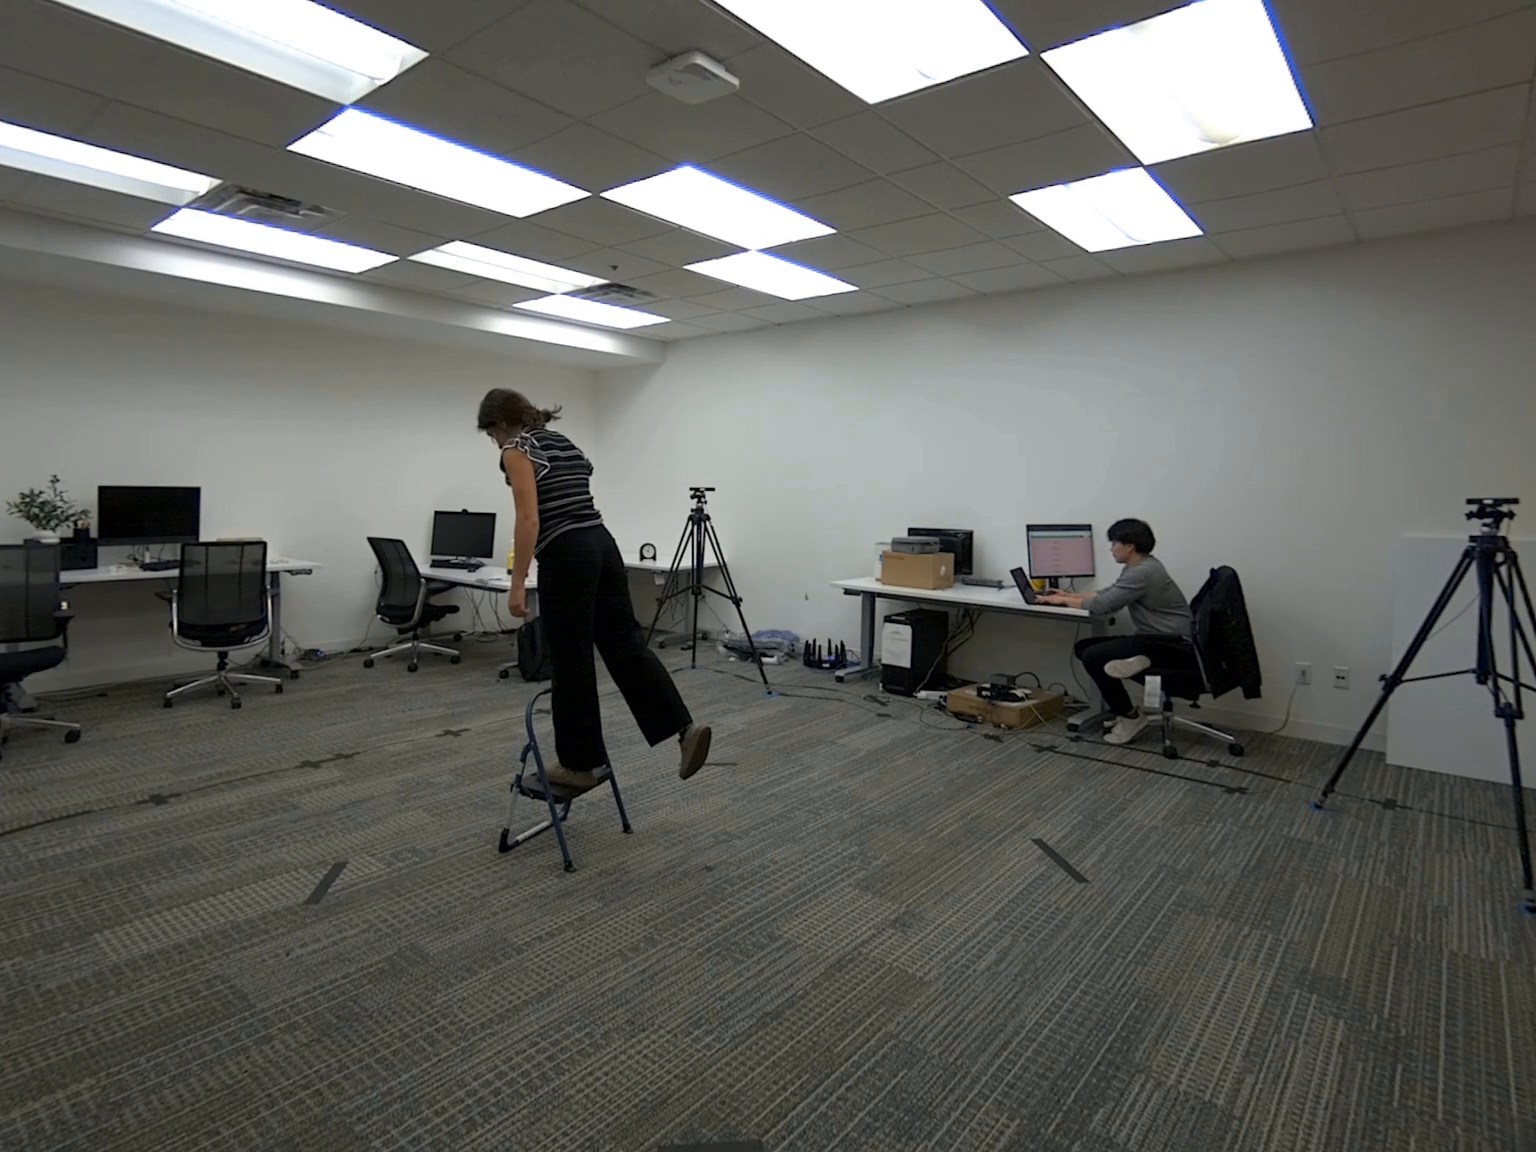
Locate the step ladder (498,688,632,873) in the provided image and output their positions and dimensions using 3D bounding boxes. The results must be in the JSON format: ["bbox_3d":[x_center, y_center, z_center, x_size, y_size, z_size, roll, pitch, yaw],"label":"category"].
[{"bbox_3d":[-0.791,0.736,3.310,0.358,0.605,0.421,2,3,24],"label":"step ladder"}]
